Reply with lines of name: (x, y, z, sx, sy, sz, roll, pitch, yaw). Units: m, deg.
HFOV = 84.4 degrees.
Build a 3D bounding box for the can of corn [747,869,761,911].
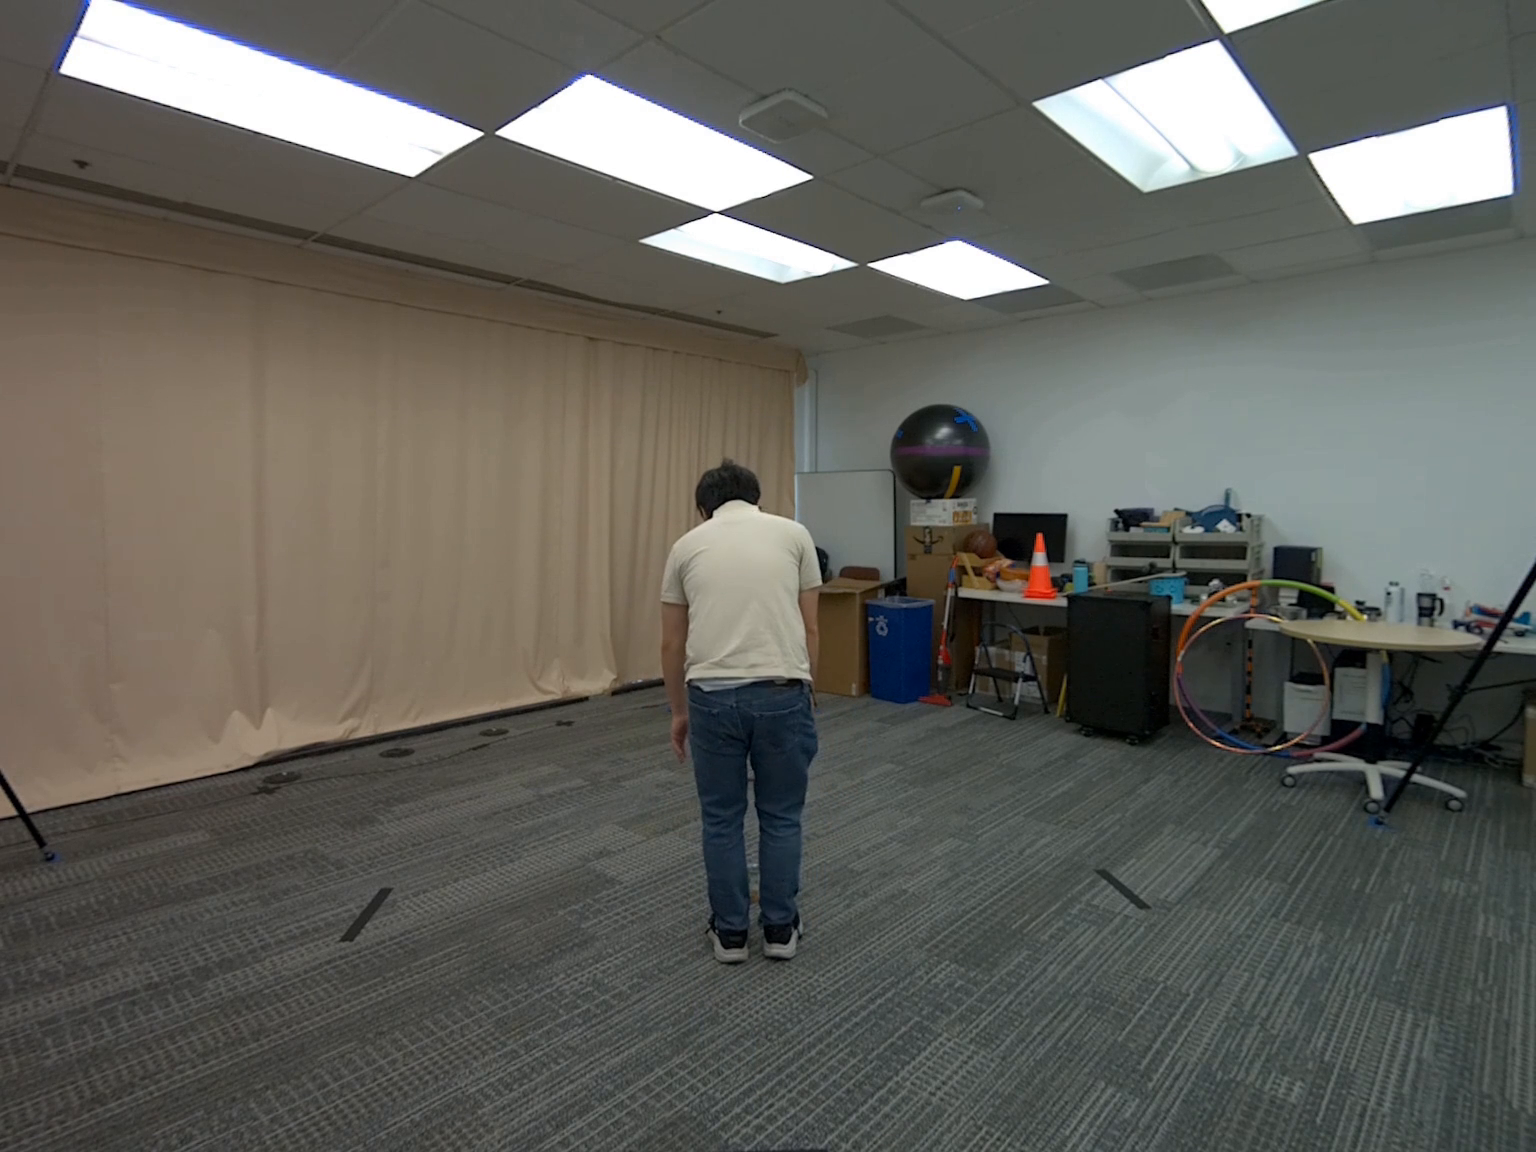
can of corn: (-0.042, 1.102, 2.979, 0.074, 0.110, 0.075, 0, 9, -2)
